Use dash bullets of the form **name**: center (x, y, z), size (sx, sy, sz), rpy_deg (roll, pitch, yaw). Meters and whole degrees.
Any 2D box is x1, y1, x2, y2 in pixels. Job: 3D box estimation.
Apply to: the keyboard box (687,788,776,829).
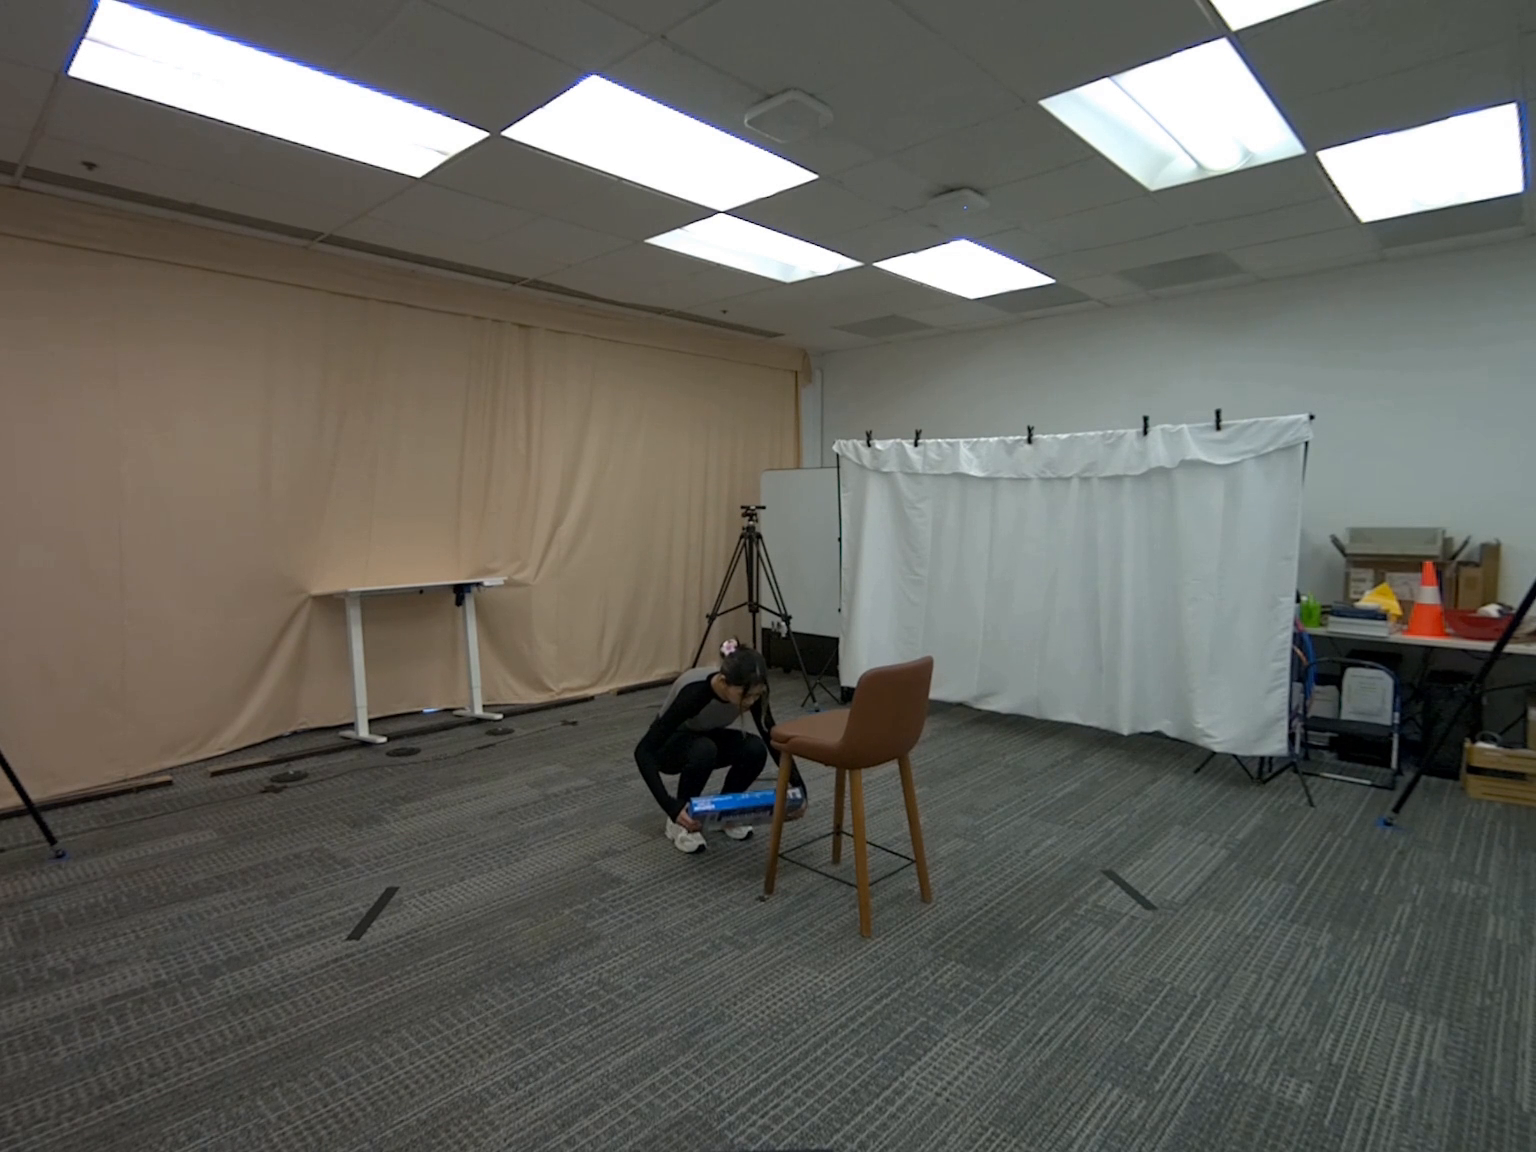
- **keyboard box**: center (-0.096, 0.898, 3.234), size (0.431, 0.173, 0.061), rpy_deg (-4, 46, -13)
